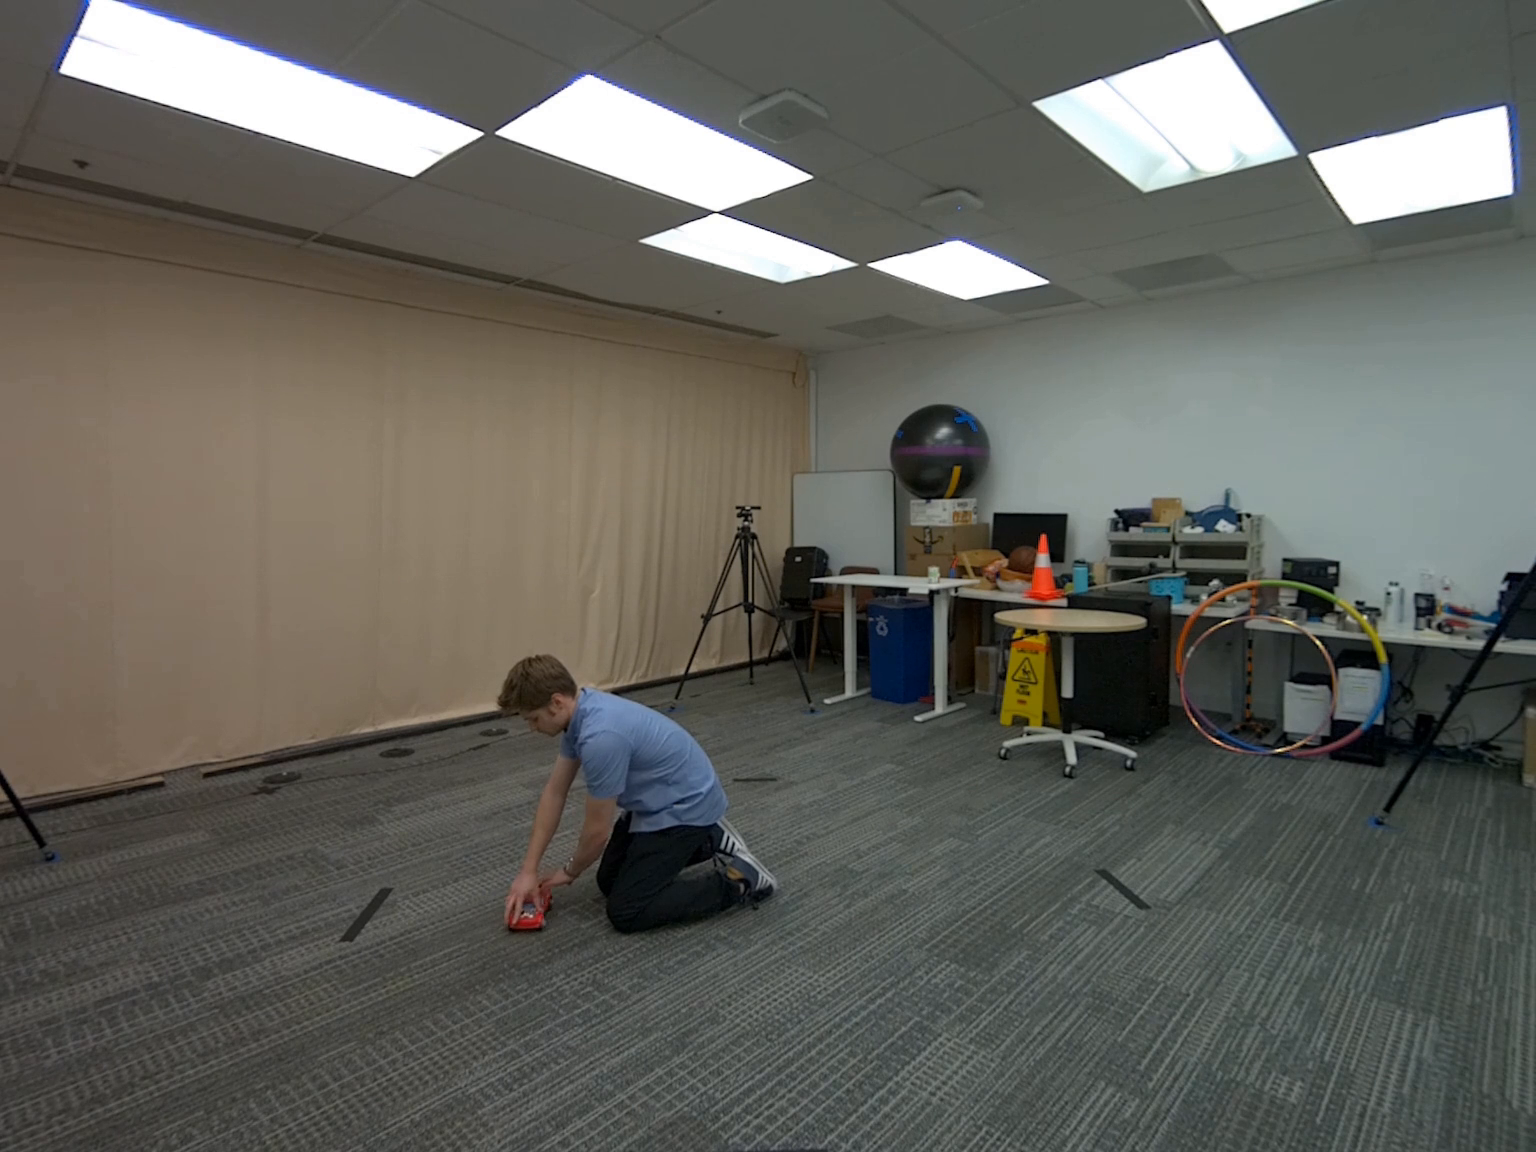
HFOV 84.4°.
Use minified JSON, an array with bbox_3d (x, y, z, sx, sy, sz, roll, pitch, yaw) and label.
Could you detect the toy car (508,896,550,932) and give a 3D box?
[{"bbox_3d":[-0.805,1.134,2.867,0.129,0.082,0.258,-2,14,-7],"label":"toy car"}]
